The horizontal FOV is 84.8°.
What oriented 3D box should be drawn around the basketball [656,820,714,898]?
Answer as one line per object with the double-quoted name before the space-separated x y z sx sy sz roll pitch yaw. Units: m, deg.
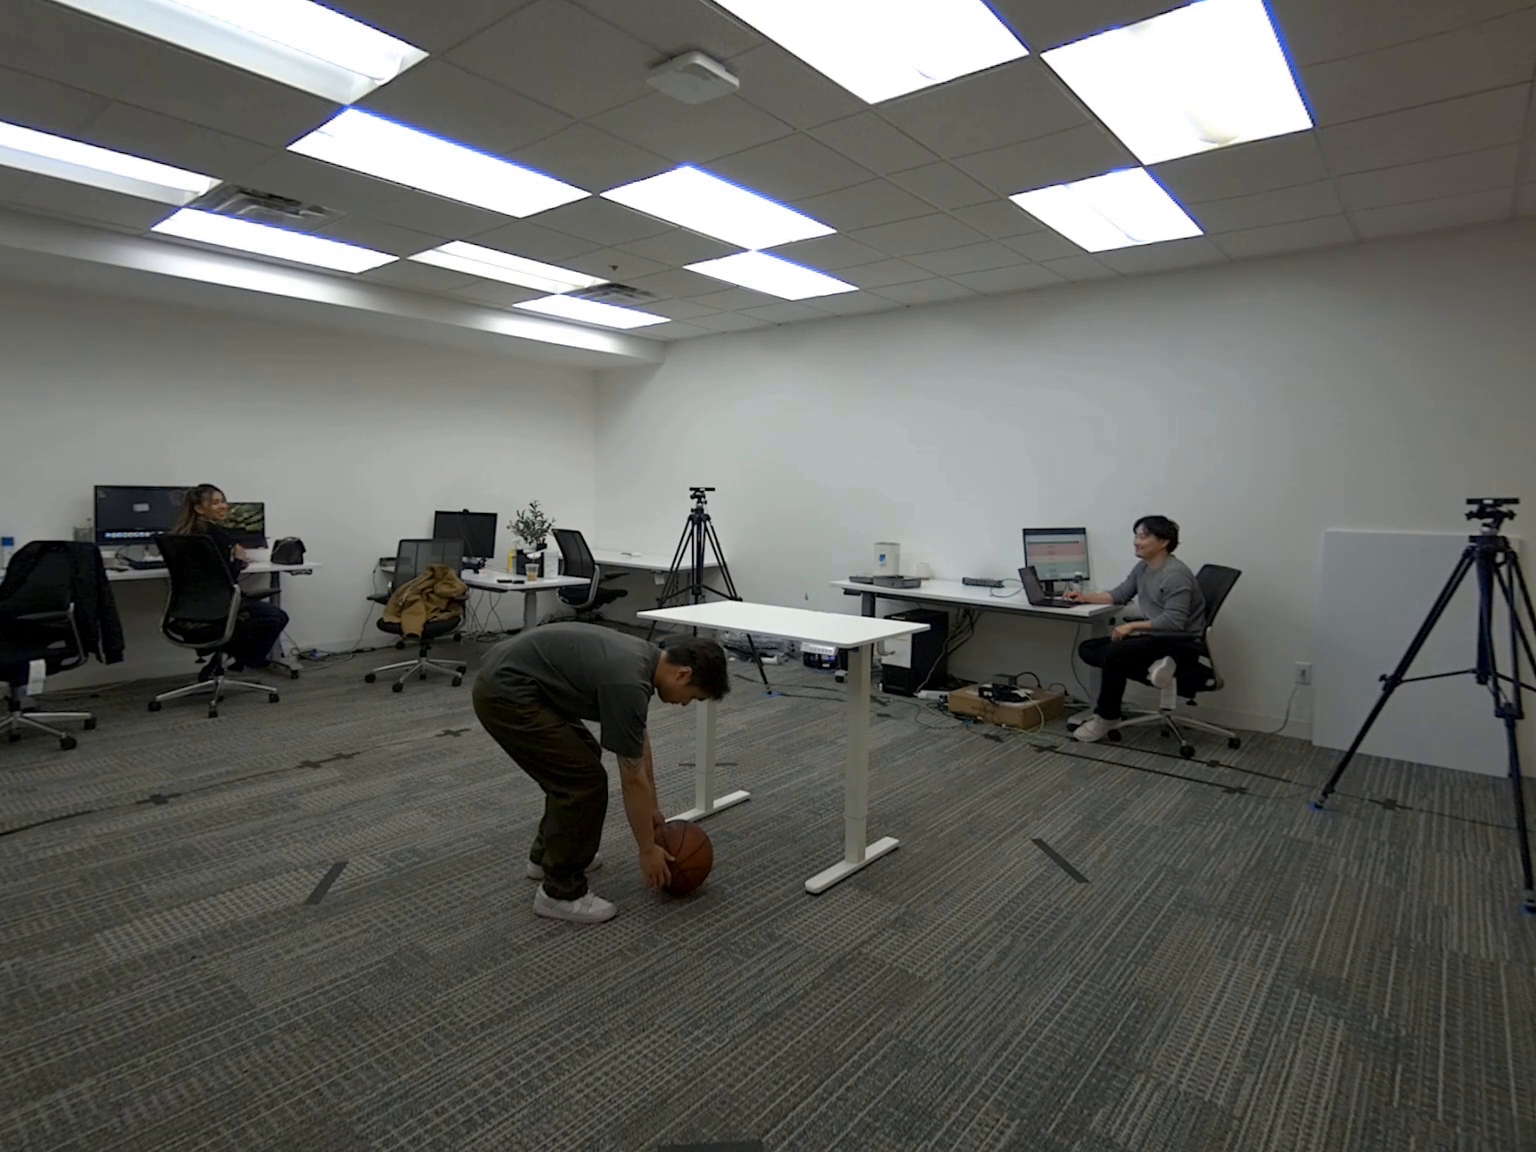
"basketball" -0.320 0.964 2.928 0.235 0.235 0.237 1 4 -2
